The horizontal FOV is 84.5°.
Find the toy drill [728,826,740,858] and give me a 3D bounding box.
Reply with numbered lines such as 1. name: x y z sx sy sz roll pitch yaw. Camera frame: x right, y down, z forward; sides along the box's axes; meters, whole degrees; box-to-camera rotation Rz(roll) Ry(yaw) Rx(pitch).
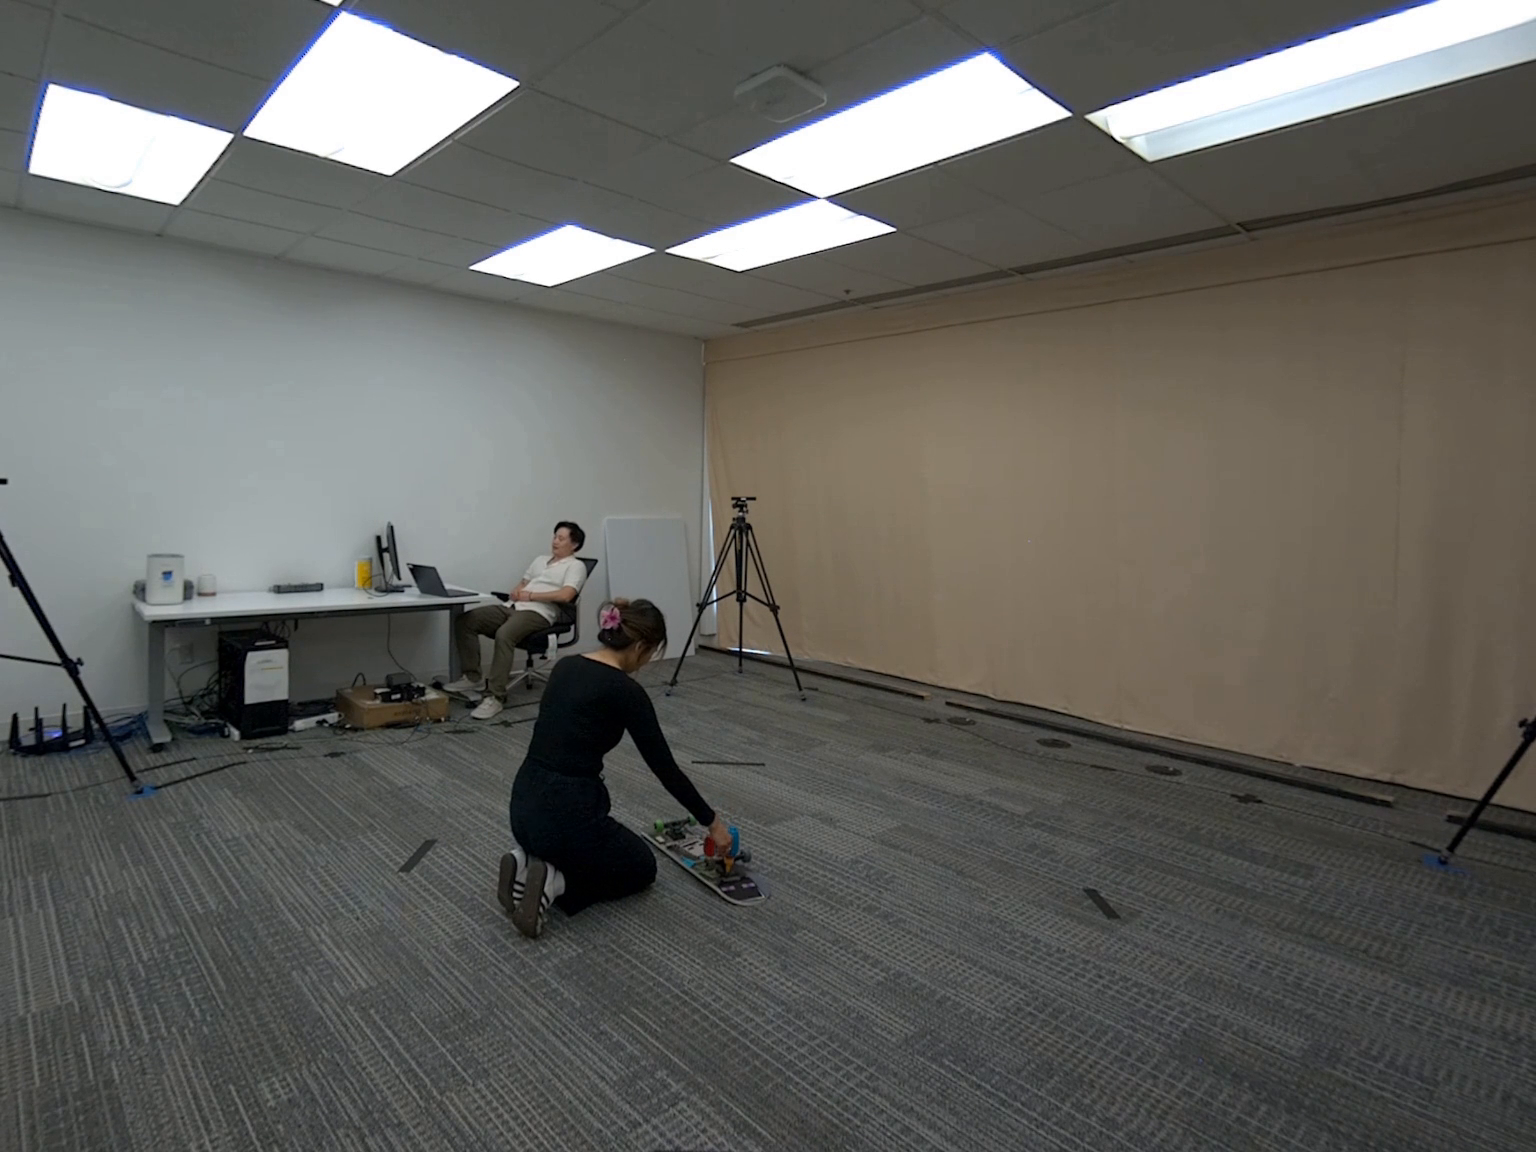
1. toy drill: -0.162 0.988 2.973 0.063 0.169 0.143 11 9 41
